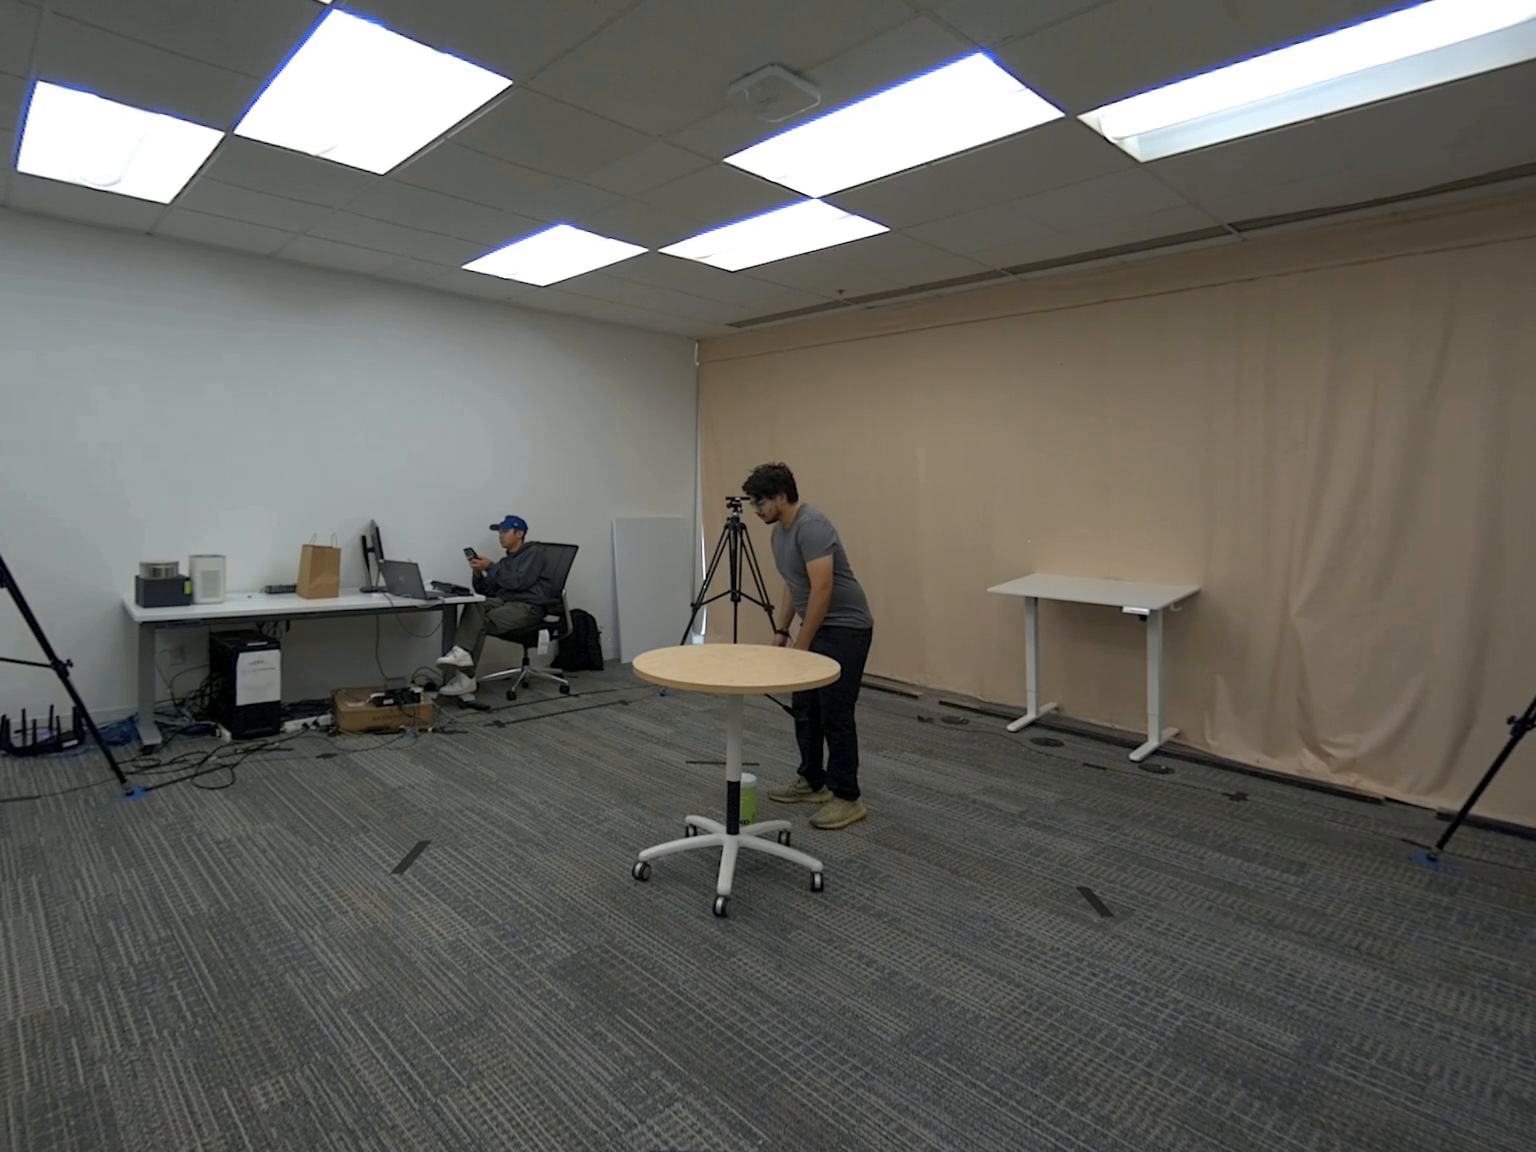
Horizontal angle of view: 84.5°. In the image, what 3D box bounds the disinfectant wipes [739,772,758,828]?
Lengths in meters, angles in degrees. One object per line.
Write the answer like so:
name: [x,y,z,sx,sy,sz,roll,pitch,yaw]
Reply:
disinfectant wipes: [-0.108,0.957,3.572,0.118,0.217,0.118,1,1,-1]
